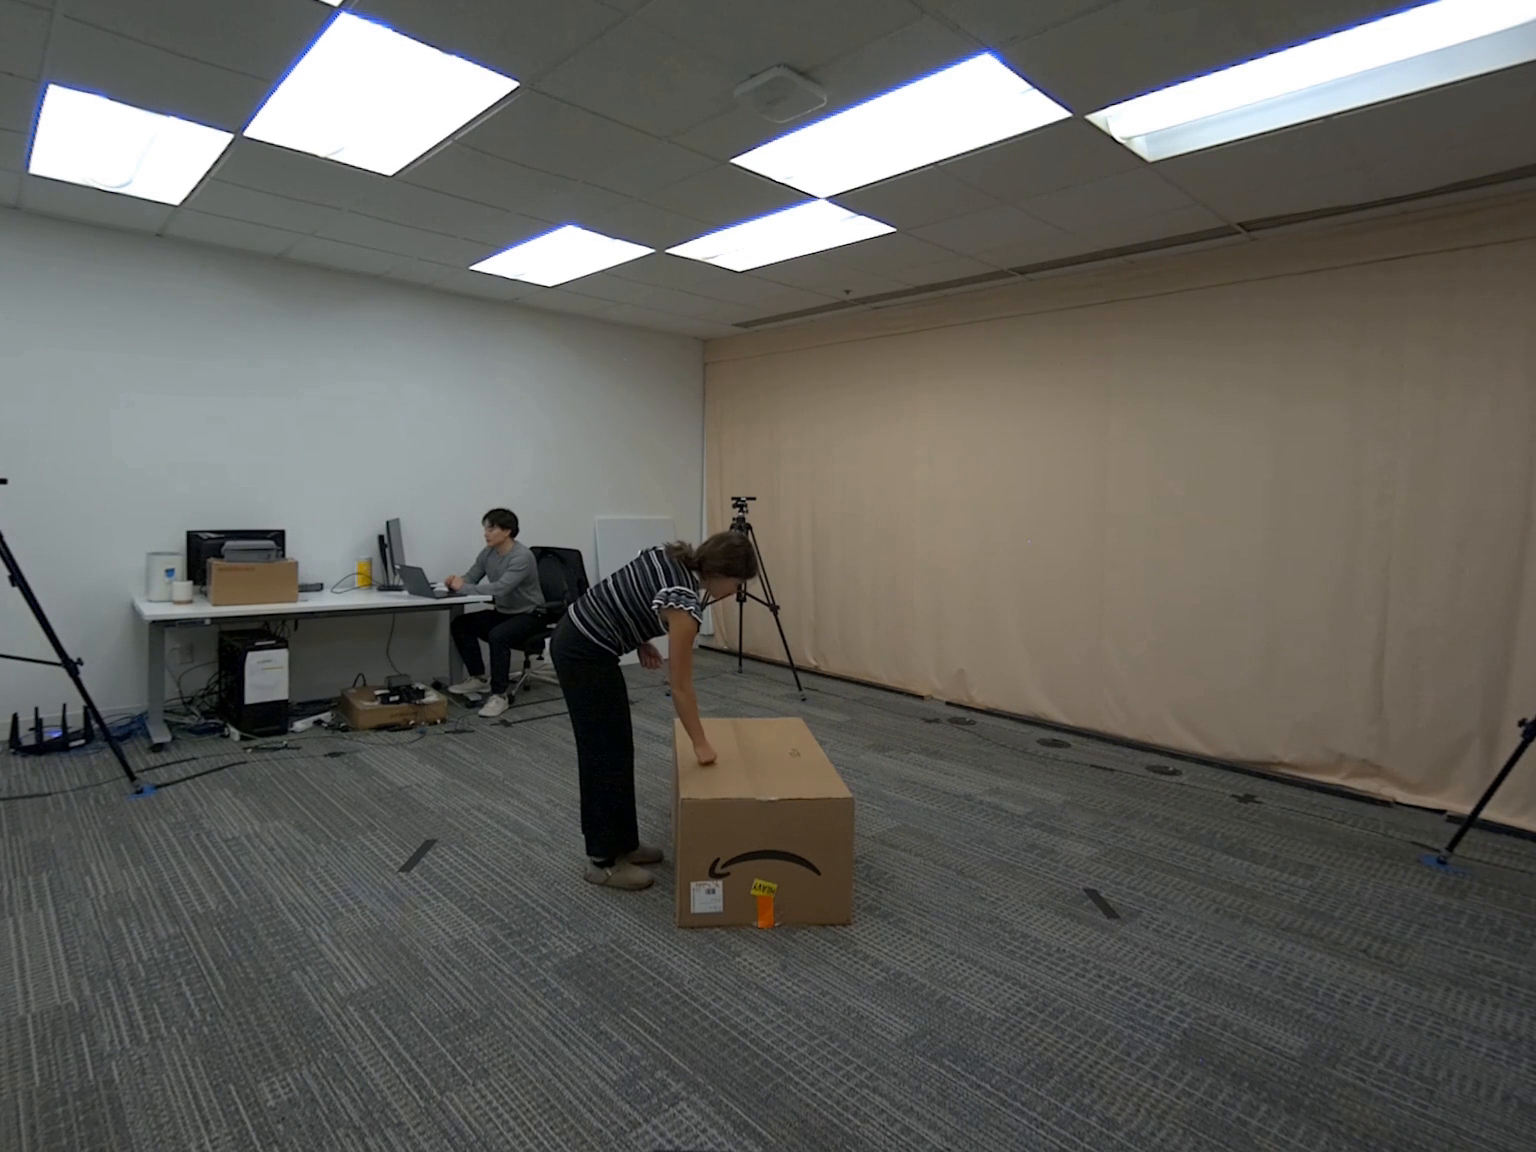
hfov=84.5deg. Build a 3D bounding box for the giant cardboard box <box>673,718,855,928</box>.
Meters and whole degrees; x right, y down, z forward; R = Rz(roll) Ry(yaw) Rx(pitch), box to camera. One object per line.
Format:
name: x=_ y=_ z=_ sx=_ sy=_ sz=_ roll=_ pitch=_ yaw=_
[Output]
giant cardboard box: x=-0.074 y=0.888 z=3.232 sx=0.575 sy=0.425 sz=1.034 roll=0 pitch=5 yaw=-7
